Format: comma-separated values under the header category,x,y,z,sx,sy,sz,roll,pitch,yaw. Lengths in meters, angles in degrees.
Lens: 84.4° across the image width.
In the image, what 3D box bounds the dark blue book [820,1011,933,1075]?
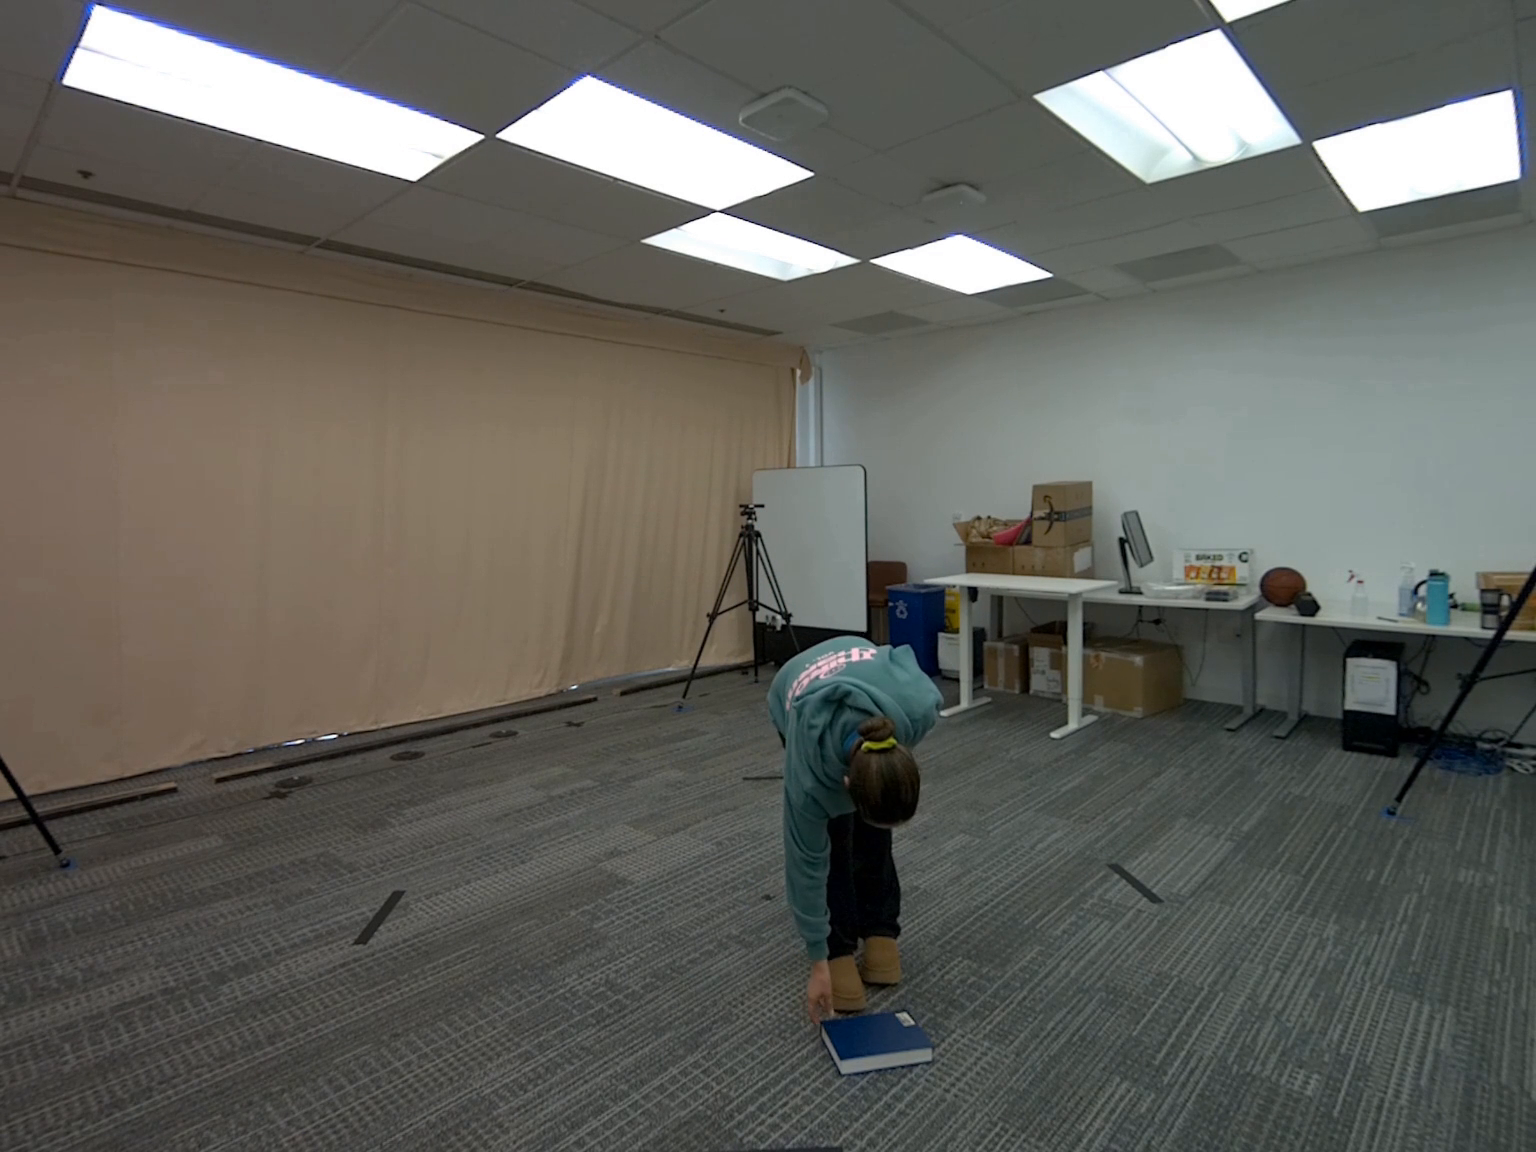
category,x,y,z,sx,sy,sz,roll,pitch,yaw
dark blue book,0.279,1.177,2.147,0.242,0.045,0.166,-2,4,-12
